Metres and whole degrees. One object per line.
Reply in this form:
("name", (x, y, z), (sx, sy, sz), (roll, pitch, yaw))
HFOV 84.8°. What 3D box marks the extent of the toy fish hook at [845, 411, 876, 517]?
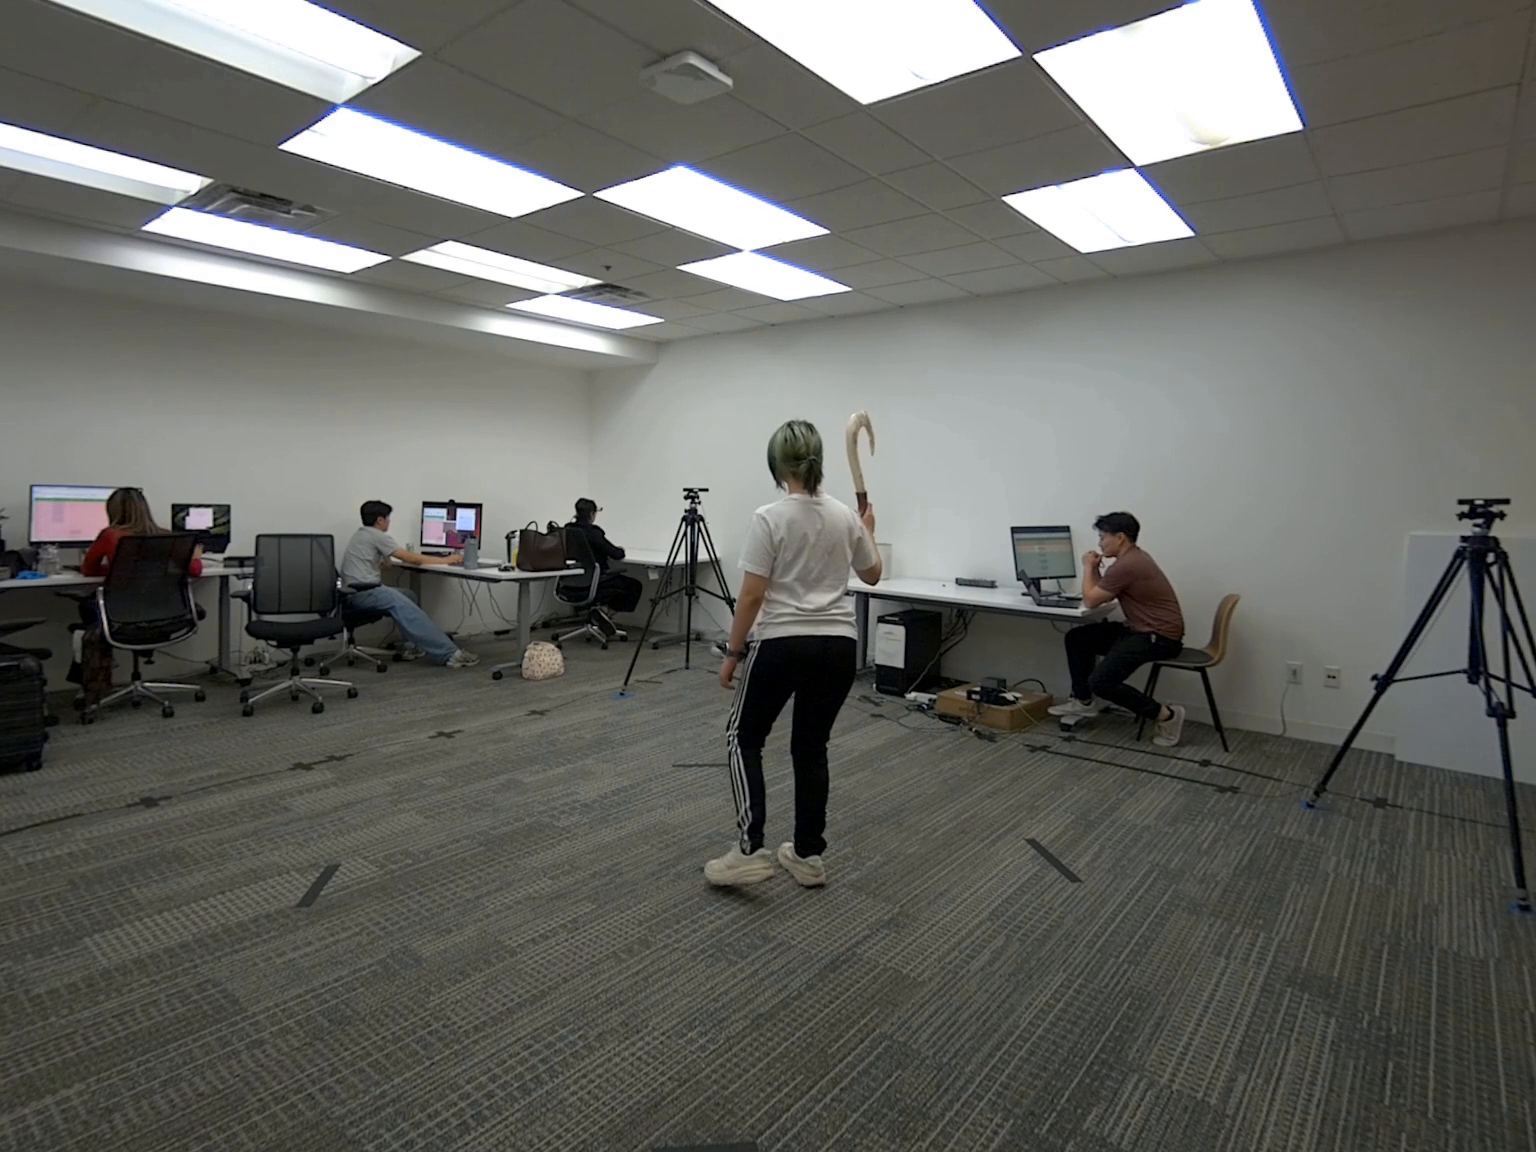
("toy fish hook", (0.376, -0.403, 3.383), (0.050, 0.498, 0.221), (5, 20, 36))
